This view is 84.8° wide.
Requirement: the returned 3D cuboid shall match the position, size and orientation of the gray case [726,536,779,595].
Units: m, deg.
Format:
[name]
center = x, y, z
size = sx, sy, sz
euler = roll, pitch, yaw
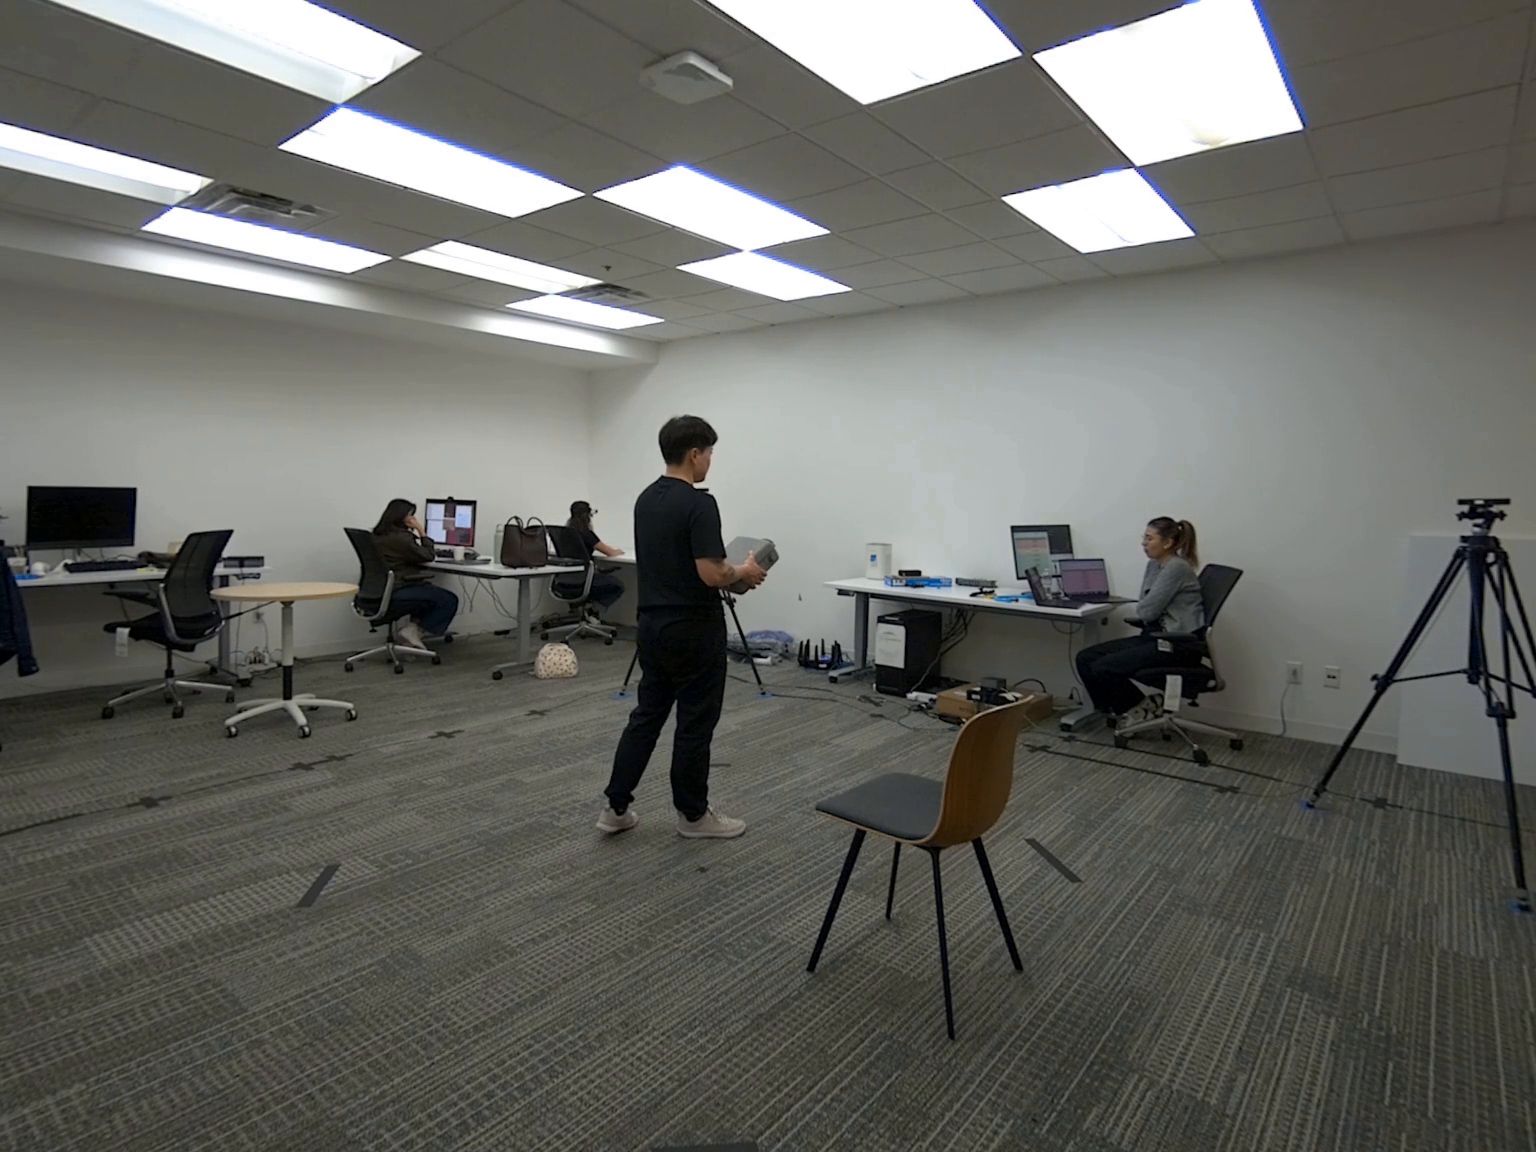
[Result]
[gray case]
center = -0.125, -0.055, 3.543
size = 0.260, 0.101, 0.266
euler = -43, 30, -24
